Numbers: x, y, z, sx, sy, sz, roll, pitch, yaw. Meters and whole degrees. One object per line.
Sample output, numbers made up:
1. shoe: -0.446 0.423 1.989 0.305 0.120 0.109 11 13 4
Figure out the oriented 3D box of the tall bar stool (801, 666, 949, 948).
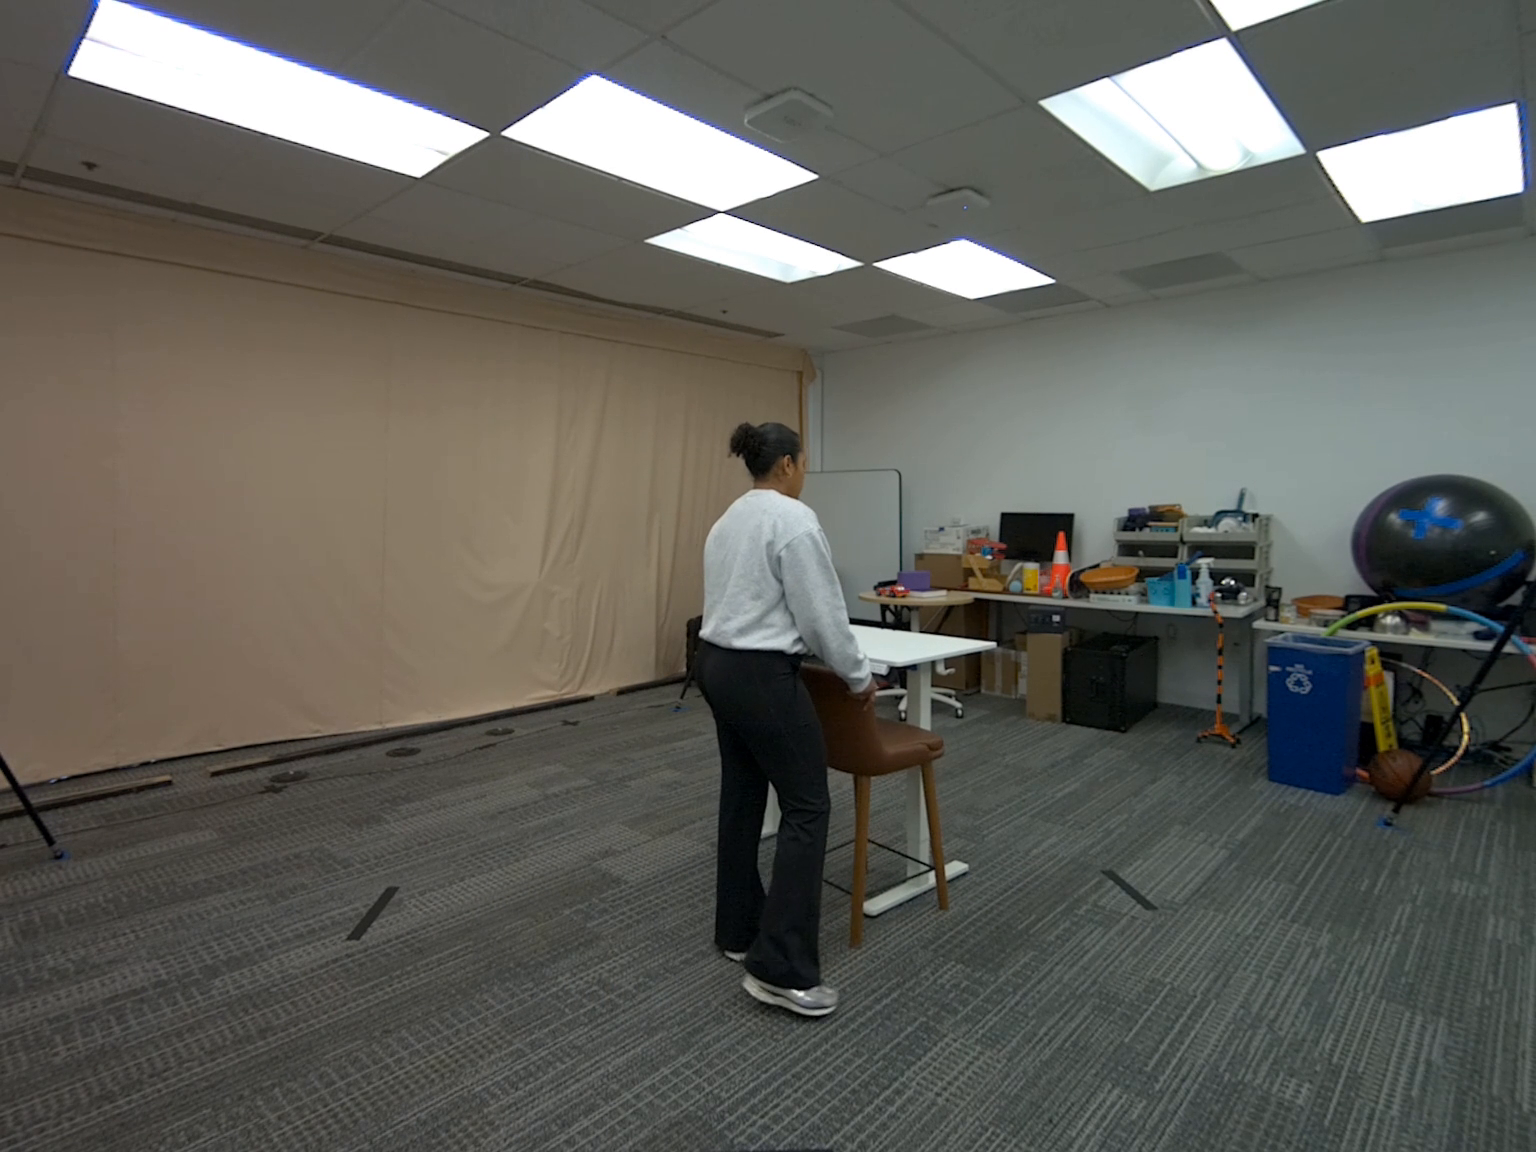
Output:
1. tall bar stool: 0.309 0.712 2.894 0.454 0.887 0.471 -5 6 -38
